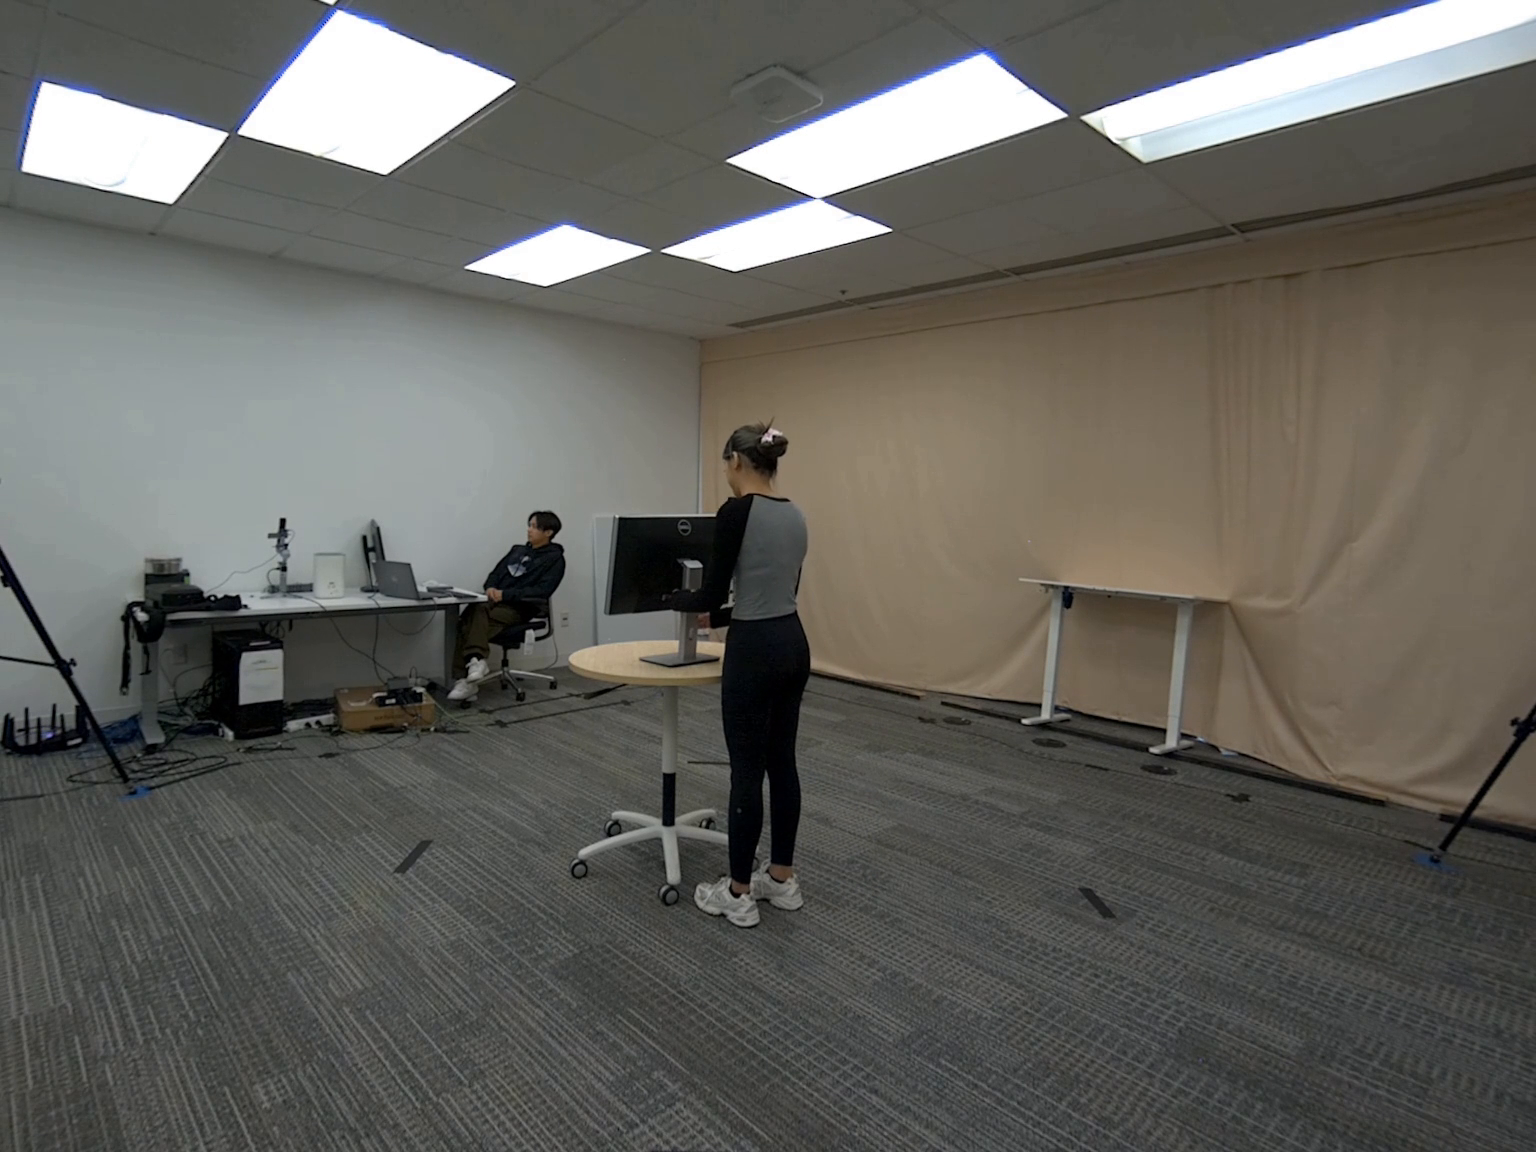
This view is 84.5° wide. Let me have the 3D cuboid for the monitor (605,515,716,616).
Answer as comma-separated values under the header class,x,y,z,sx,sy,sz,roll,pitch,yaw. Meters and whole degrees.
class,x,y,z,sx,sy,sz,roll,pitch,yaw
monitor,-0.329,0.050,3.110,0.527,0.522,0.192,-3,3,-44
